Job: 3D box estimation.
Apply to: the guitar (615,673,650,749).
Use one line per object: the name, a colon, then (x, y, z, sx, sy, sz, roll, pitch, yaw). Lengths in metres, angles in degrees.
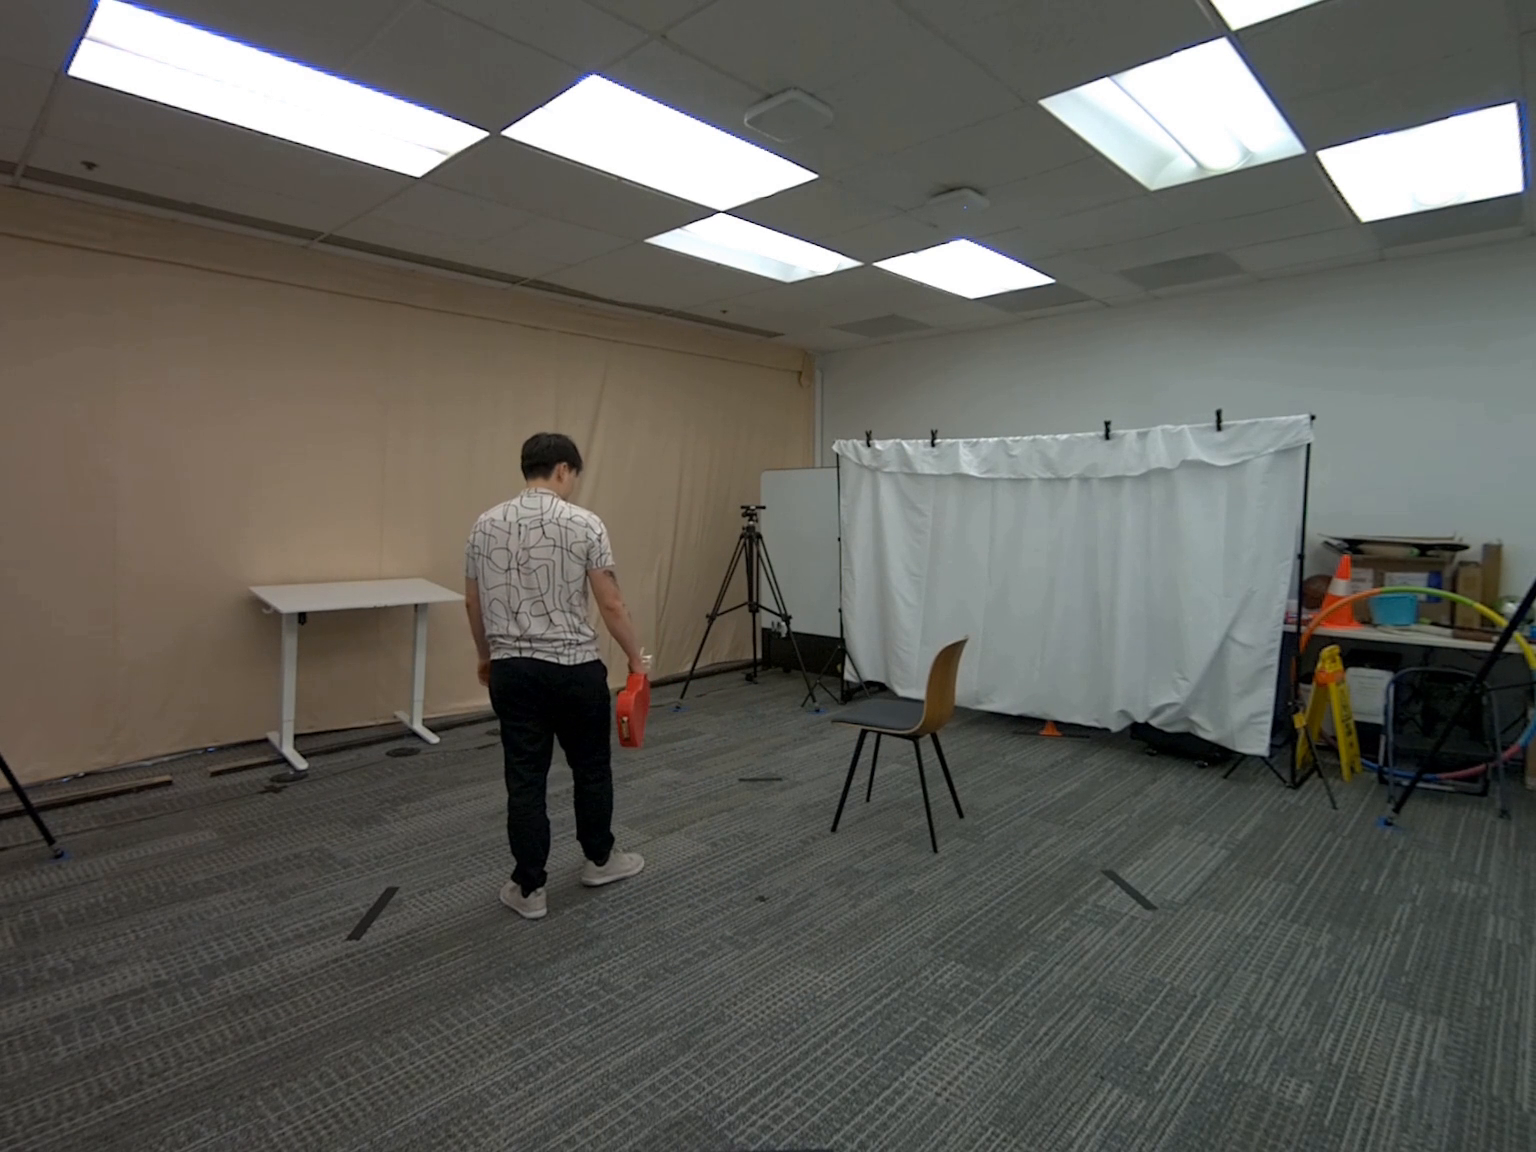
guitar: (-0.456, 0.380, 2.944, 0.071, 0.189, 0.506, -1, 32, 0)
